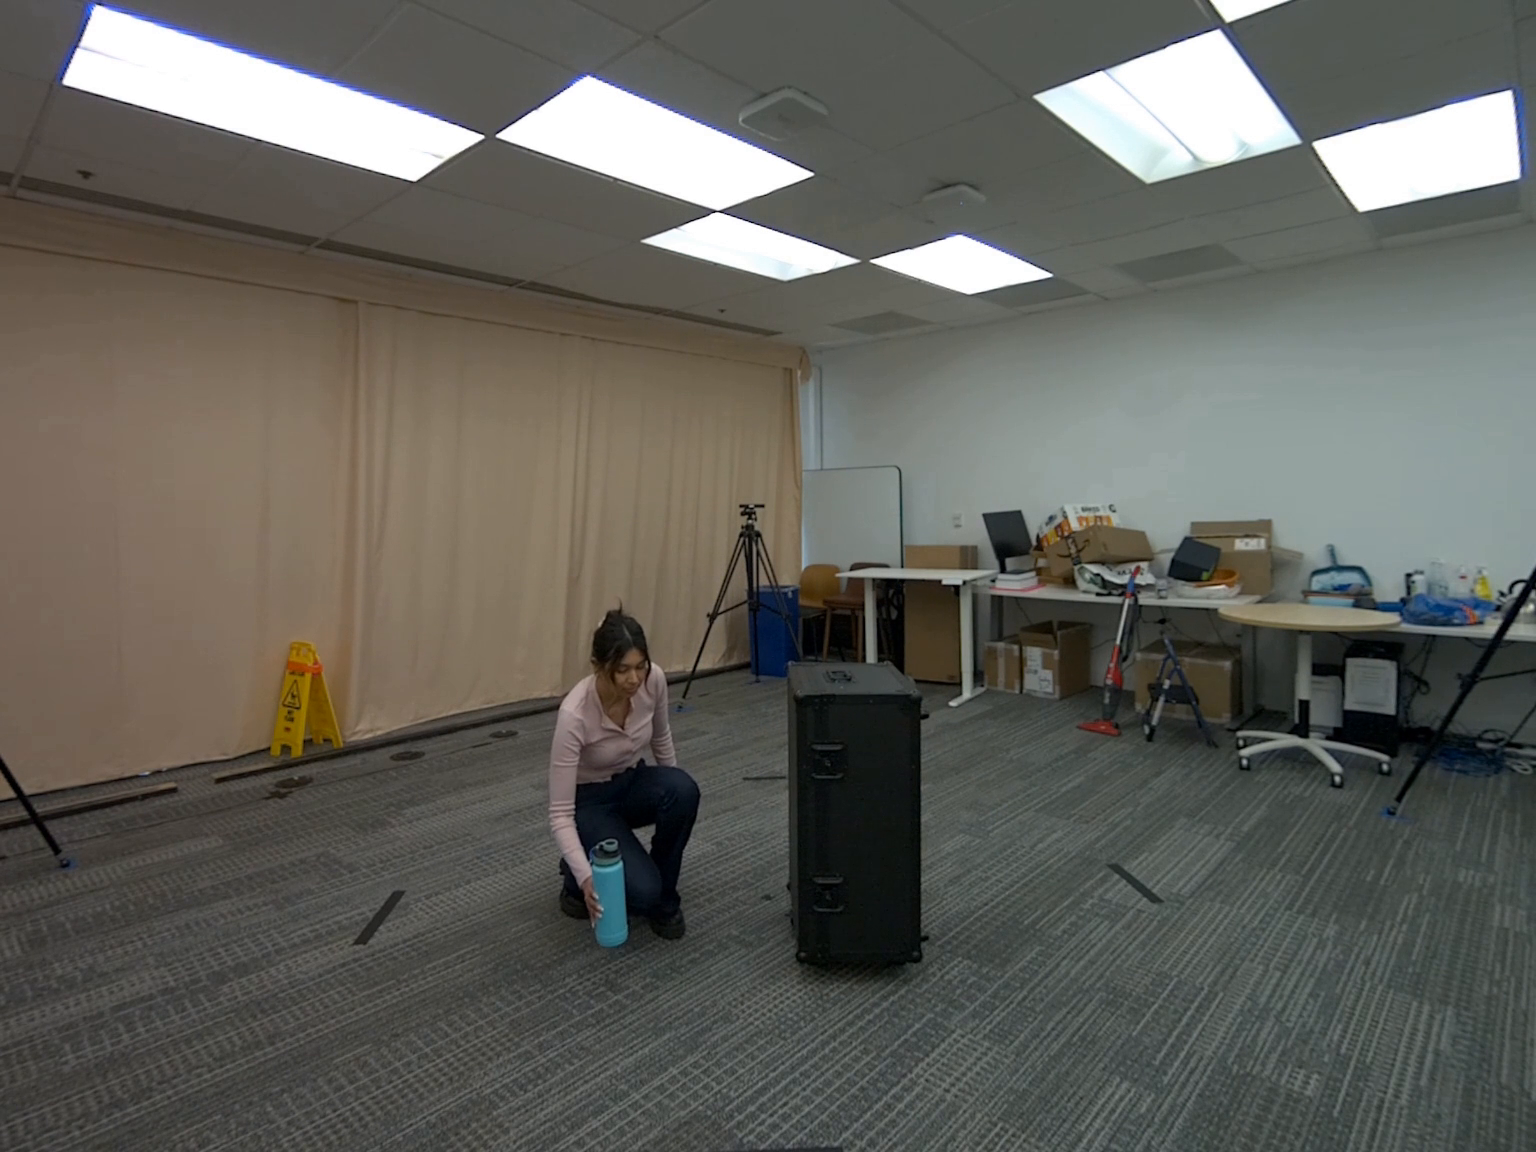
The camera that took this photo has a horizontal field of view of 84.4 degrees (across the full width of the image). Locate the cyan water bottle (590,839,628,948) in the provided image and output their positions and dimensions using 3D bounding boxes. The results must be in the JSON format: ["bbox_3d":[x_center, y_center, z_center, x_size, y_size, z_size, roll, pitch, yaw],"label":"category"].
[{"bbox_3d":[-0.446,0.888,2.392,0.092,0.282,0.093,-5,5,-1],"label":"cyan water bottle"}]
